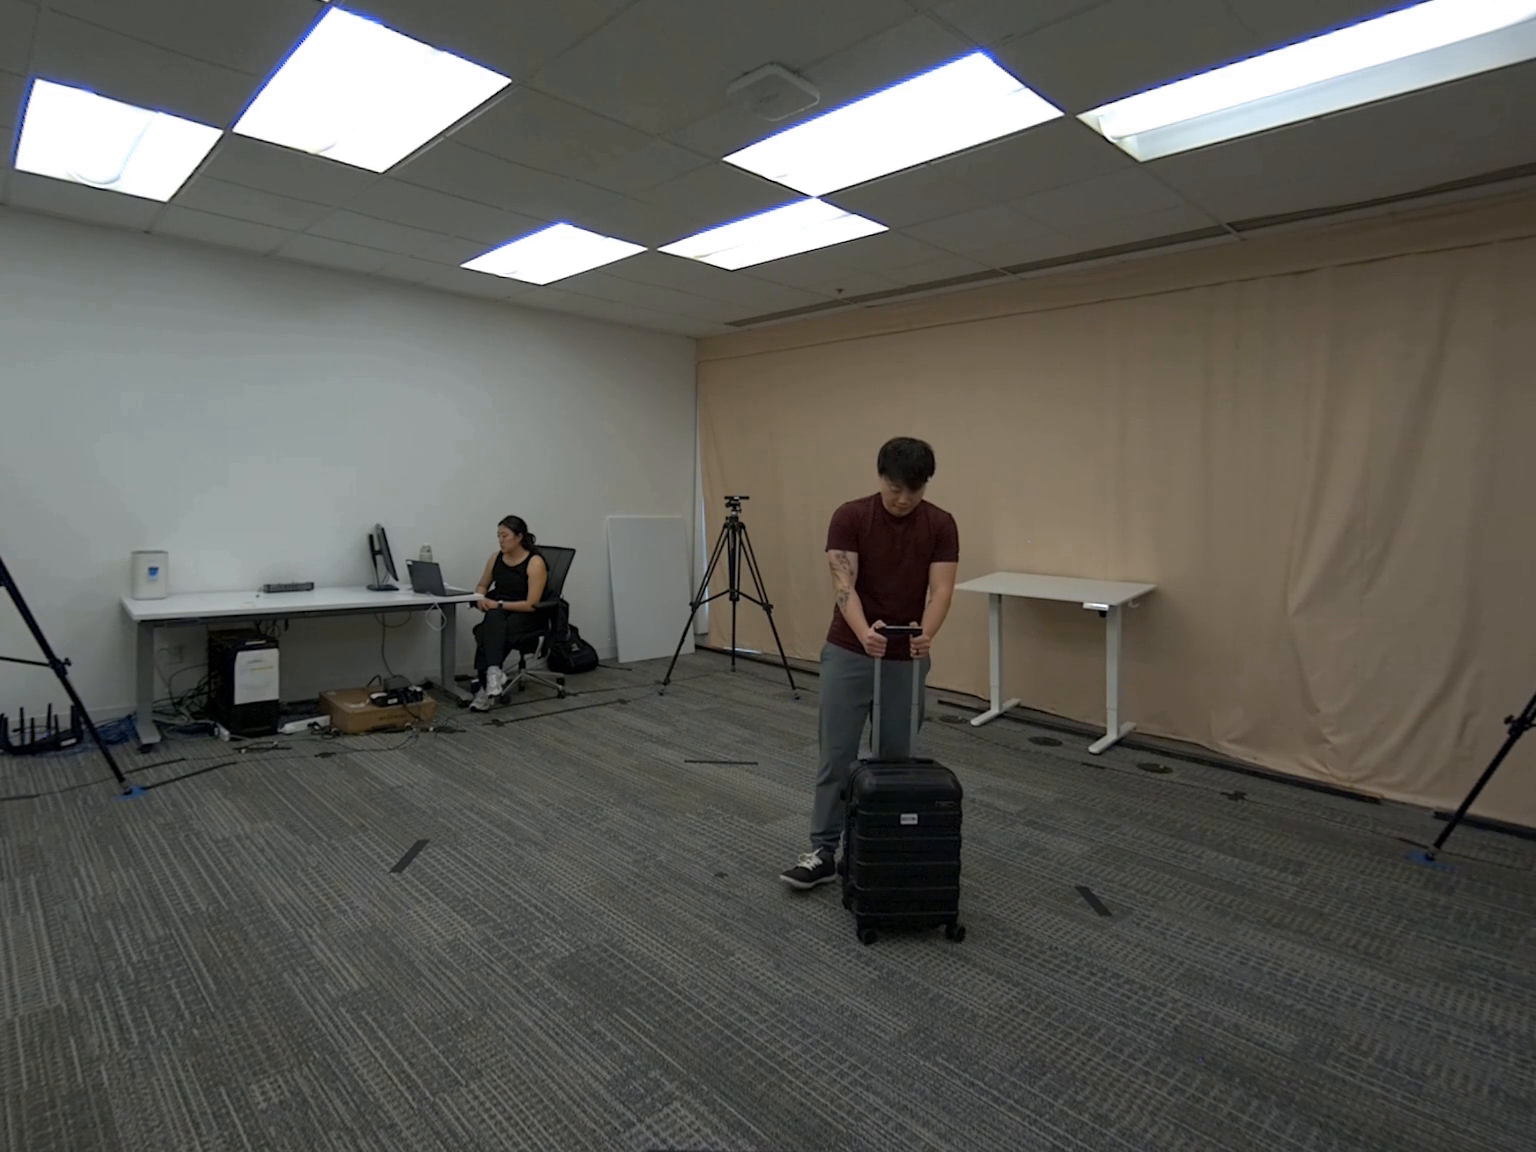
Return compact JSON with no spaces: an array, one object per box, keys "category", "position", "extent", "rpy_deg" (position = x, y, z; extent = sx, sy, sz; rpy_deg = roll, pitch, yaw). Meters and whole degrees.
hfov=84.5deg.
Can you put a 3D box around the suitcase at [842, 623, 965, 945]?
[{"category":"suitcase","position":[0.431,0.674,2.719],"extent":[0.383,0.973,0.259],"rpy_deg":[0,7,-4]}]
